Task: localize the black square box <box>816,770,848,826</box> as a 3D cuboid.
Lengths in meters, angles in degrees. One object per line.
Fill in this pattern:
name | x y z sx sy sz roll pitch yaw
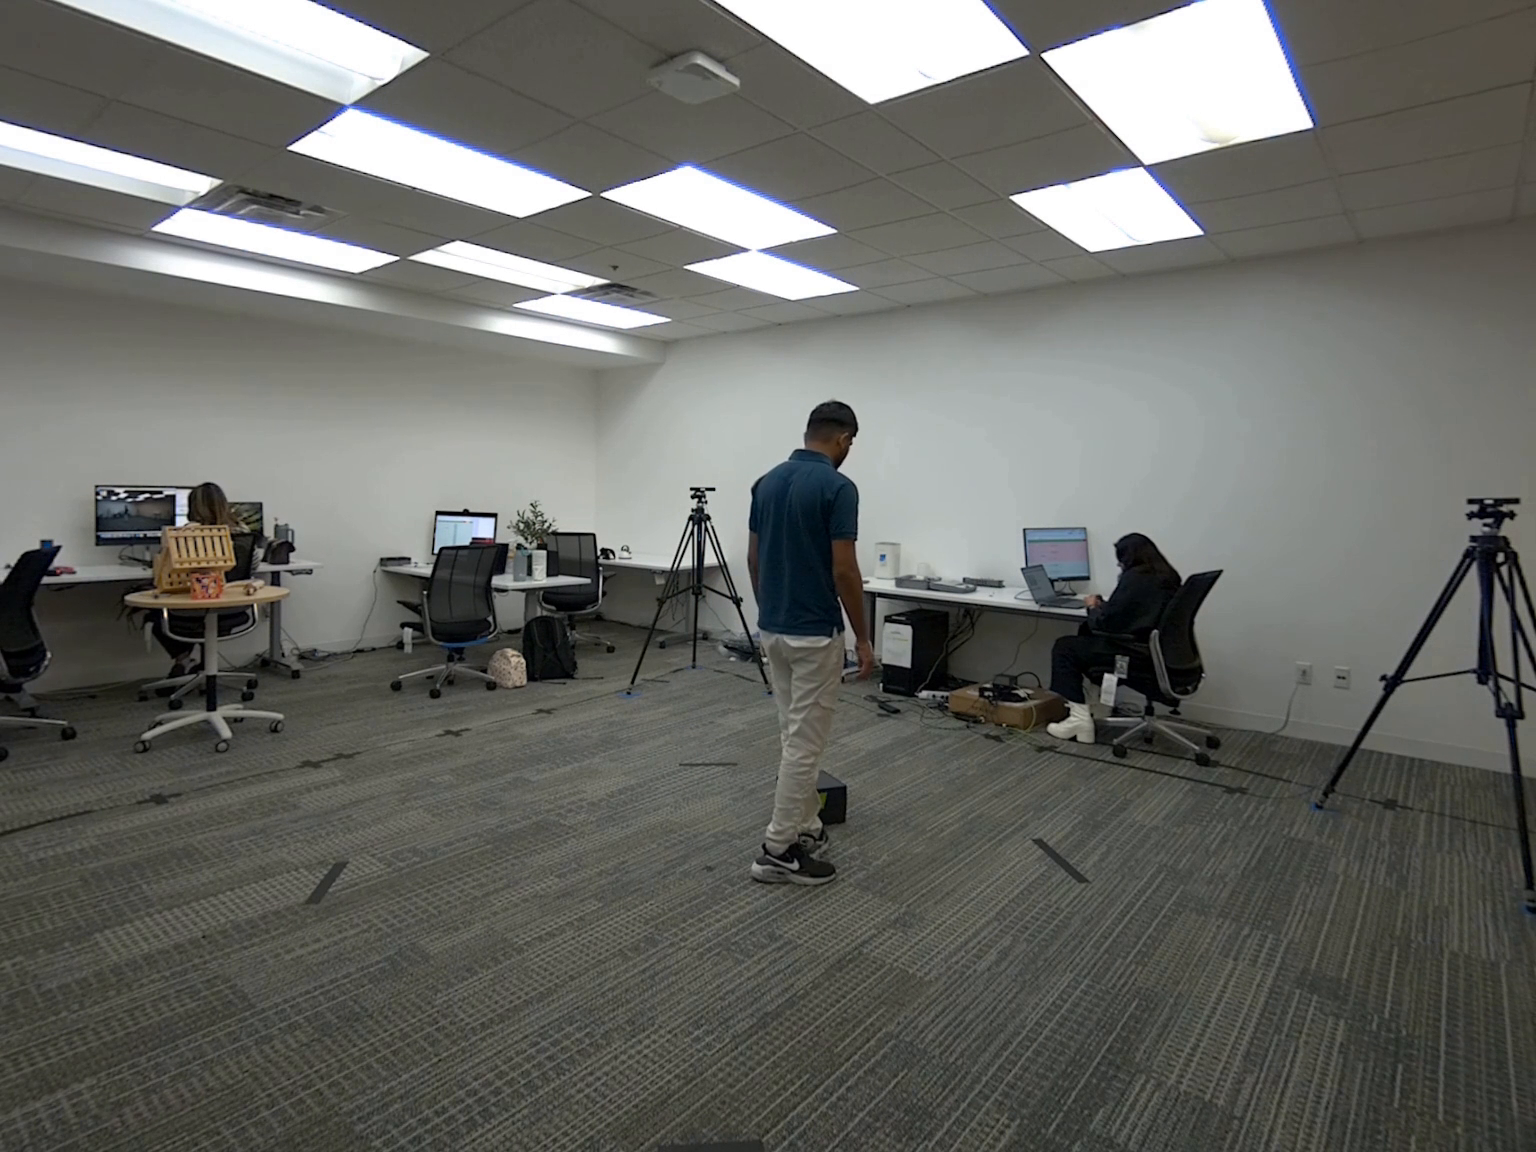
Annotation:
black square box | 0.180 0.938 3.628 0.223 0.155 0.223 -2 6 -24
